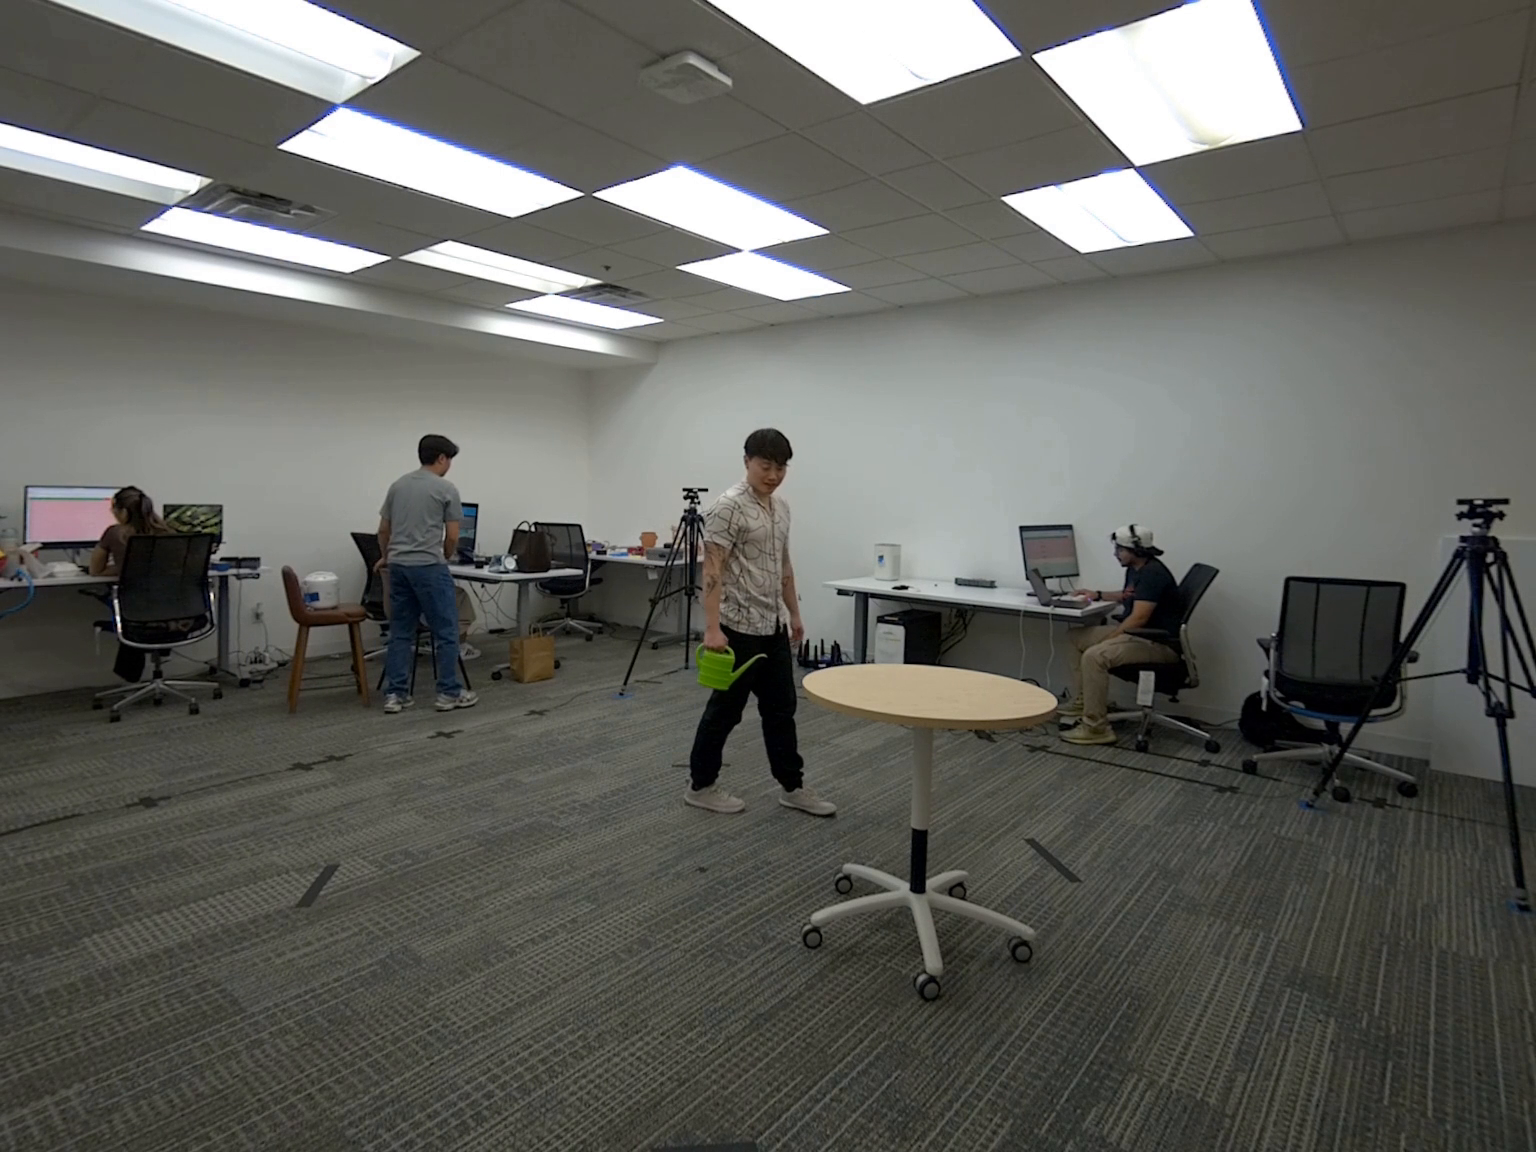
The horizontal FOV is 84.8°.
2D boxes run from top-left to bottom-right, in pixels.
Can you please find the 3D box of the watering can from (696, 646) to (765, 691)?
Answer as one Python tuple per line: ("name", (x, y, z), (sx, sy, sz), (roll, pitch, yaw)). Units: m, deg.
("watering can", (-0.163, 0.358, 3.392), (0.286, 0.176, 0.095), (14, 4, 23))
